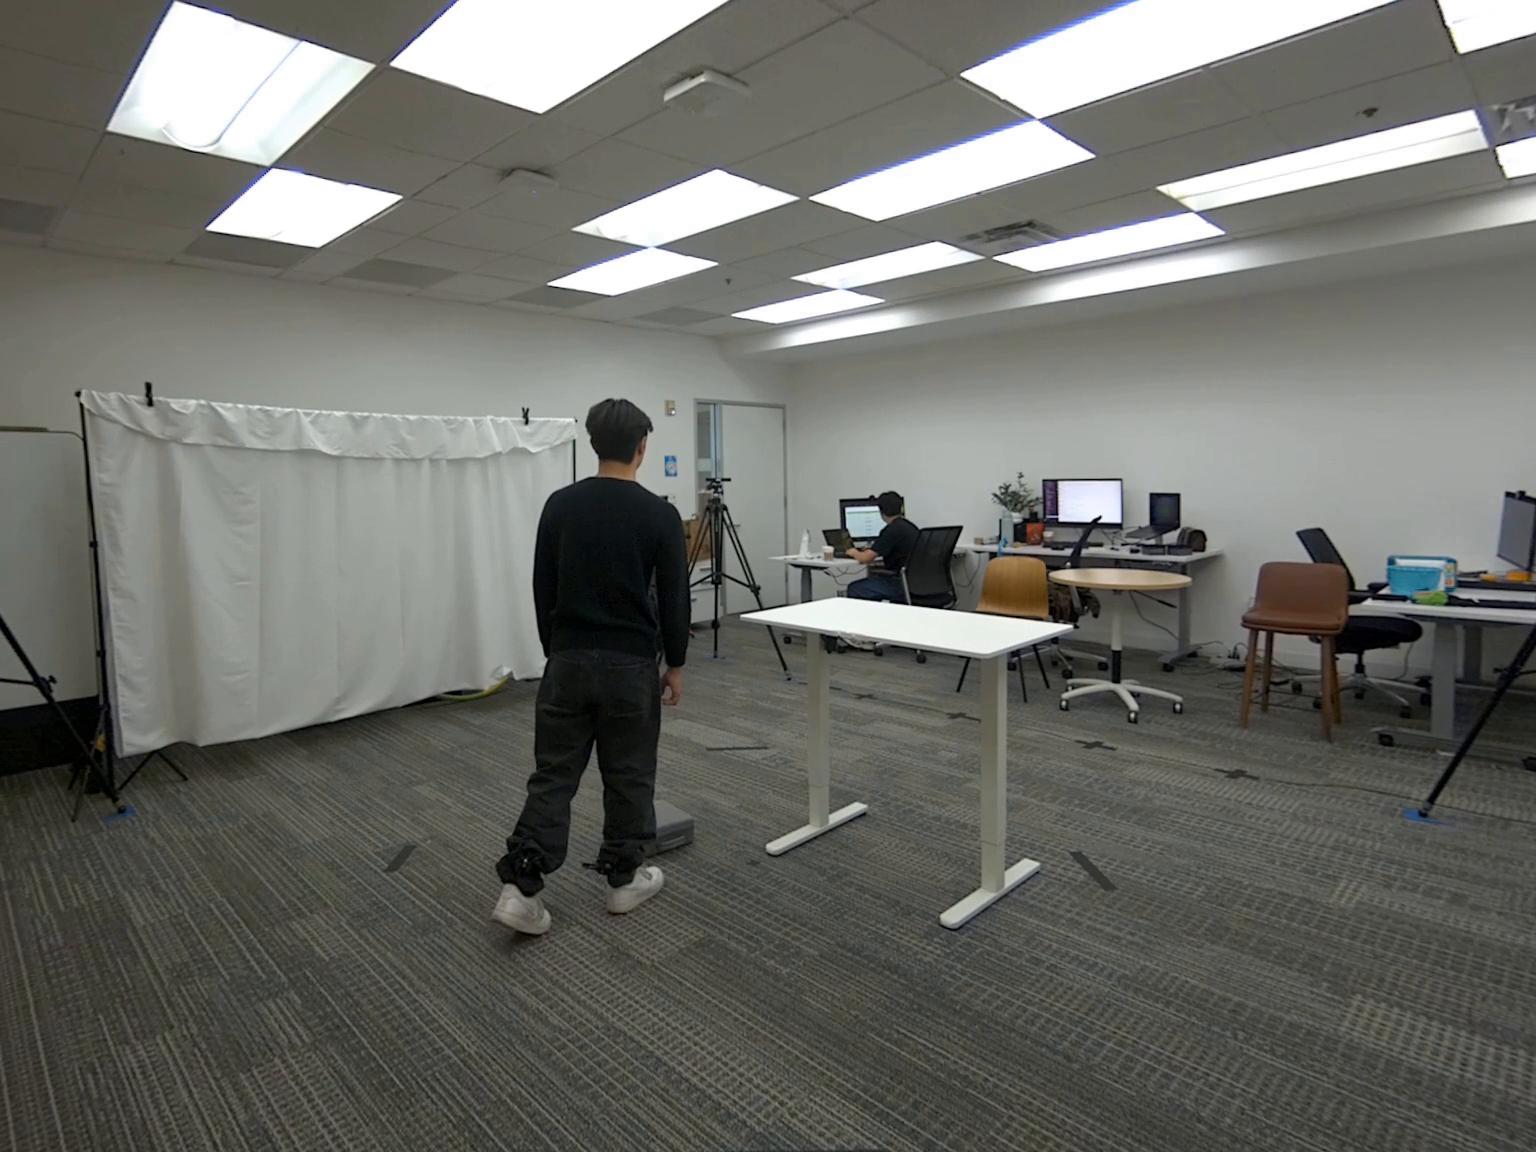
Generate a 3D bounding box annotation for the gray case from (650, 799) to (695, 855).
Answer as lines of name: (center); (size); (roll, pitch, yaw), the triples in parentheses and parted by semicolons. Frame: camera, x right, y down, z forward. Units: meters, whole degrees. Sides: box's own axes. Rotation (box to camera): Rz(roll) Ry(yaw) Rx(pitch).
gray case: (-0.441, 0.966, 3.303); (0.250, 0.104, 0.269); (-4, 7, -39)
